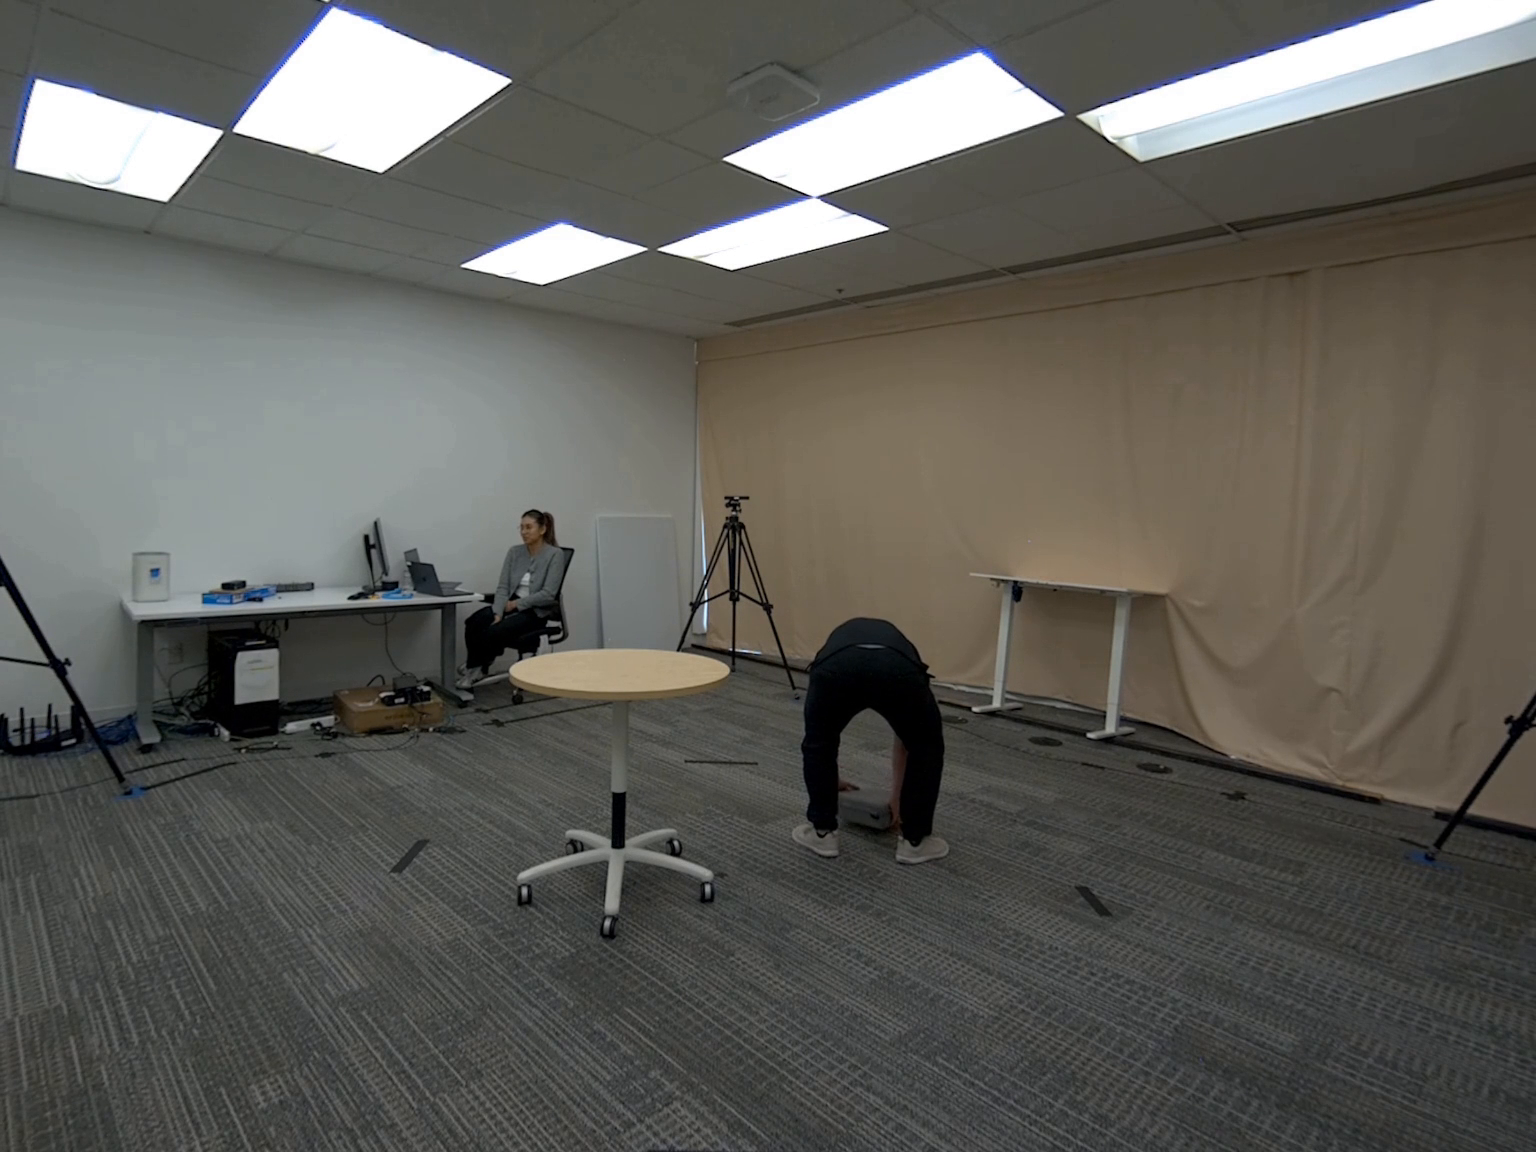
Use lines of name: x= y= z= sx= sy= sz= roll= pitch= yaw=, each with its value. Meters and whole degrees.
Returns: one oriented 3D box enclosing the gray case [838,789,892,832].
gray case: x=0.437 y=0.981 z=3.617 sx=0.263 sy=0.104 sz=0.254 roll=1 pitch=0 yaw=38
